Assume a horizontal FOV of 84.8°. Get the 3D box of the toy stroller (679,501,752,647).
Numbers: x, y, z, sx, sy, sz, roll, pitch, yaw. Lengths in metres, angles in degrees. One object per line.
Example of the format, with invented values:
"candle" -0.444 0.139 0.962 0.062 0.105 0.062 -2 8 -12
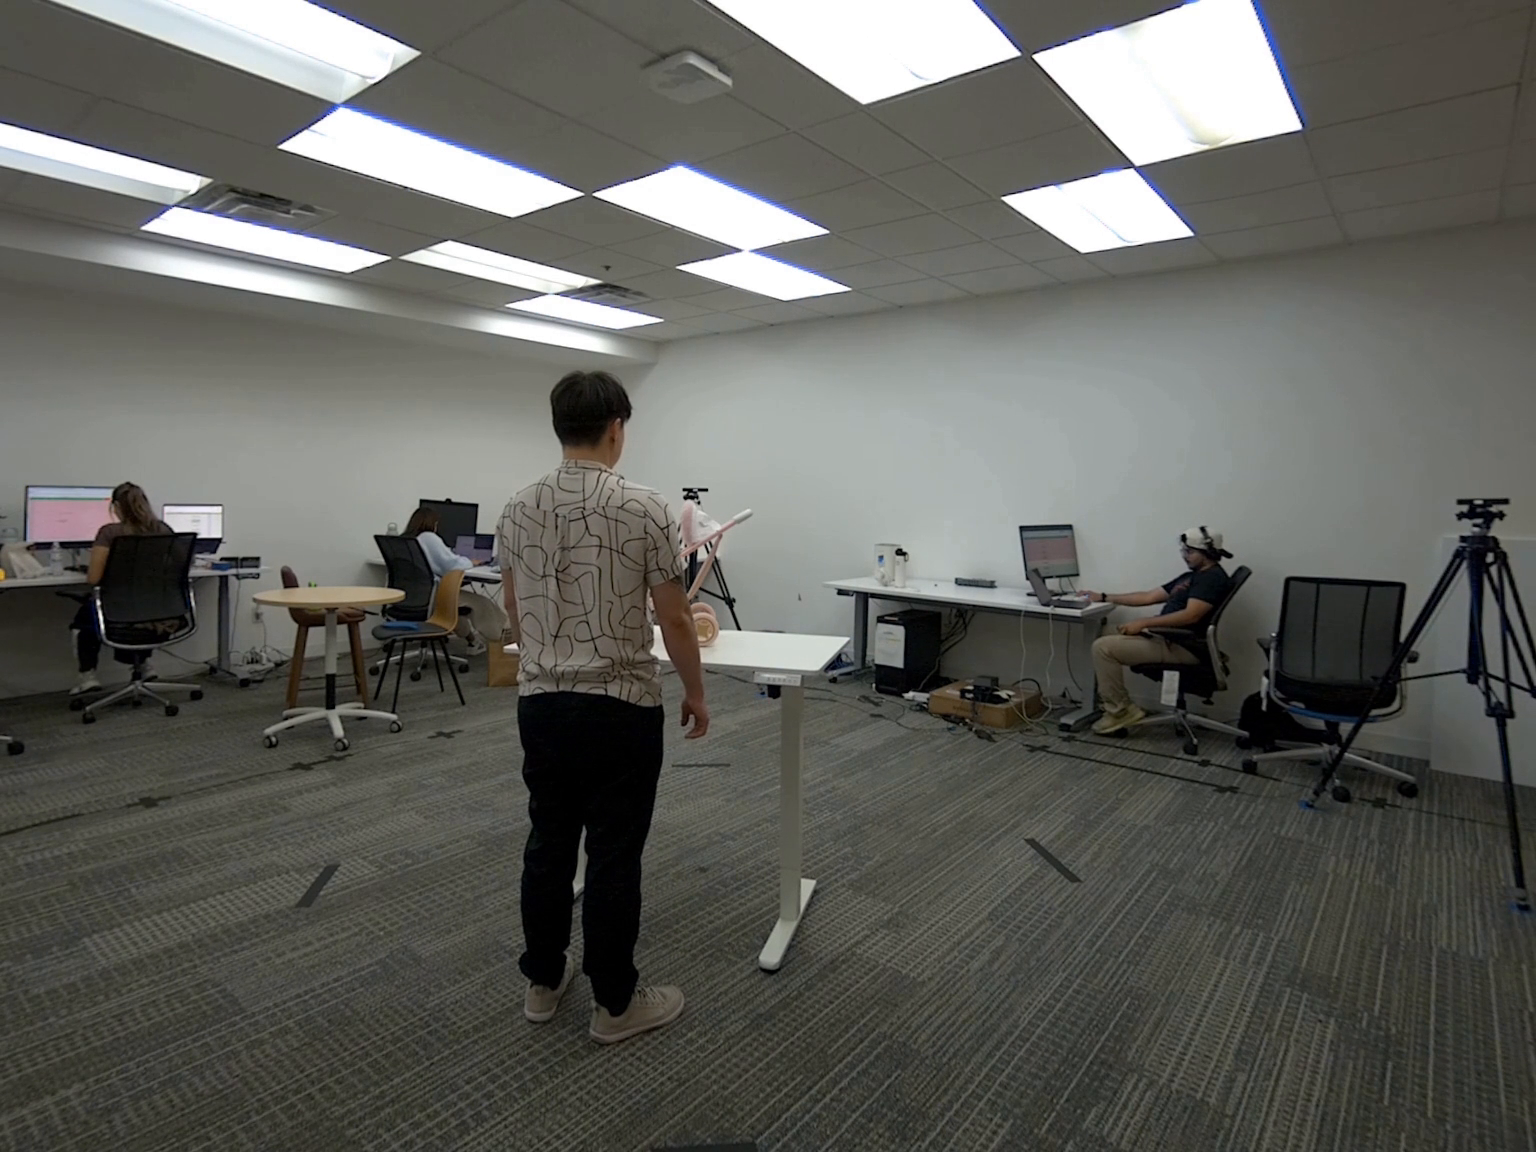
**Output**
"toy stroller" -0.305 -0.017 2.841 0.341 0.535 0.282 17 1 -2
